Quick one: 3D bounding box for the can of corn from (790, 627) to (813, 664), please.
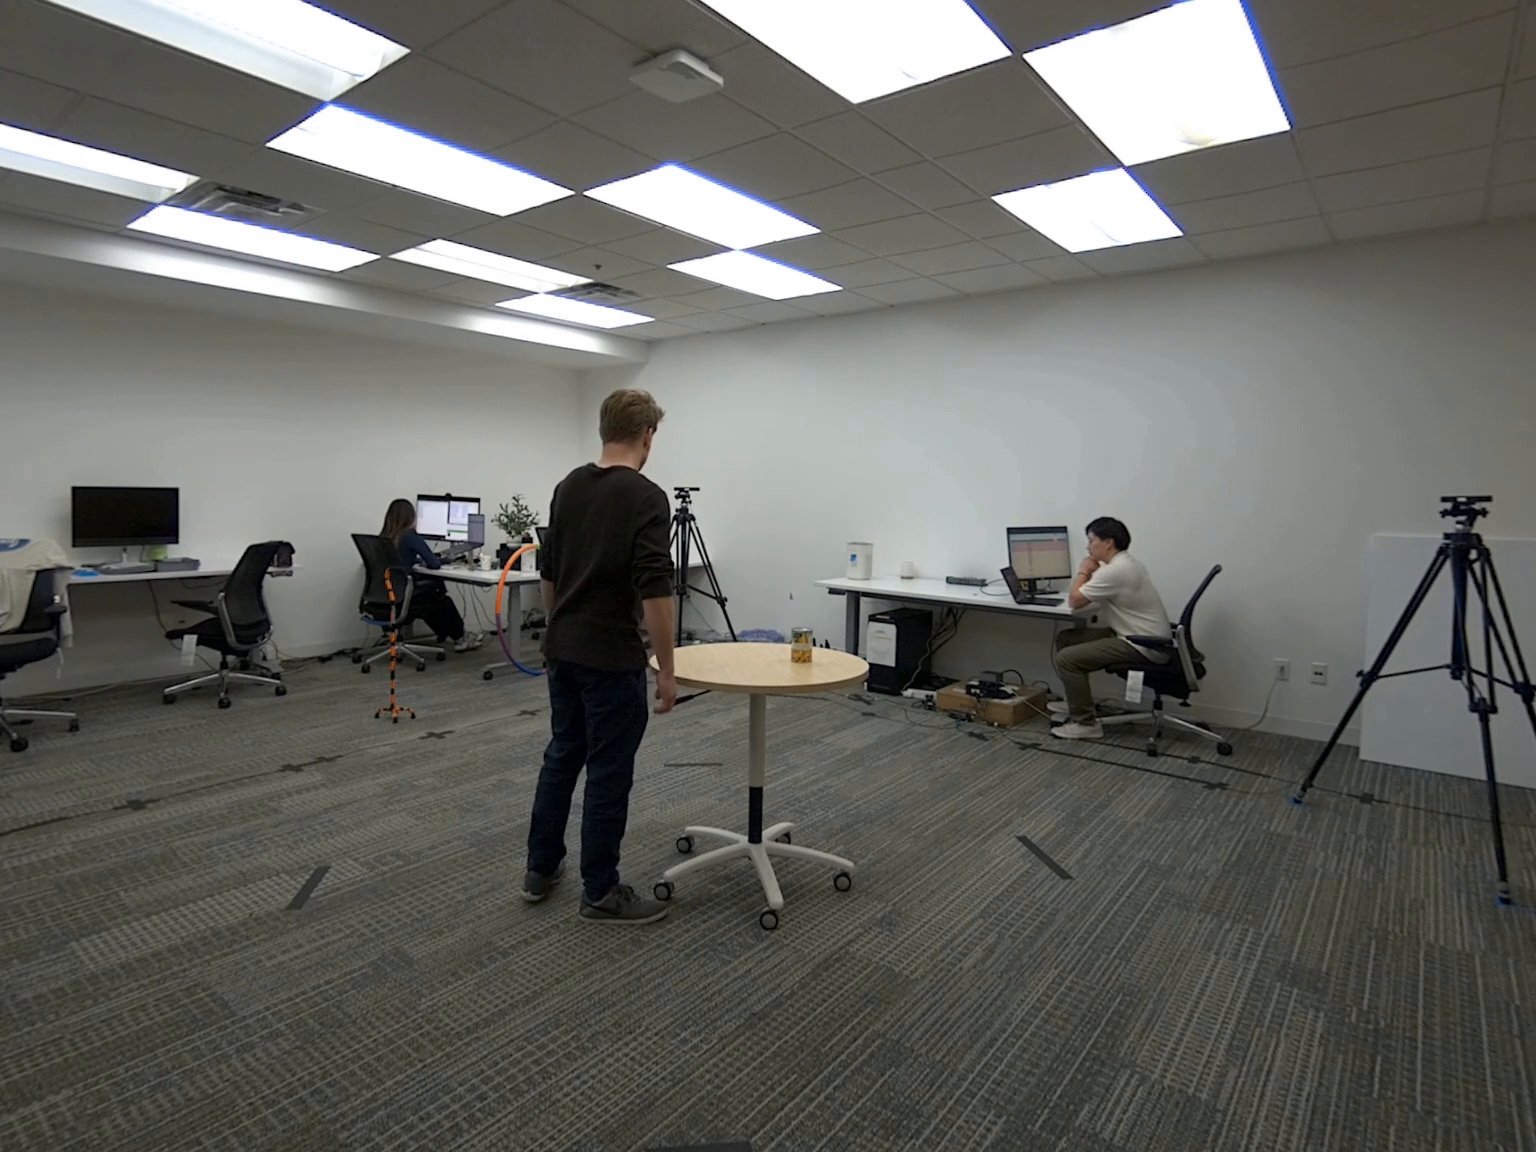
[{"bbox_3d":[0.115,0.243,3.004,0.074,0.110,0.074,3,4,-2],"label":"can of corn"}]
